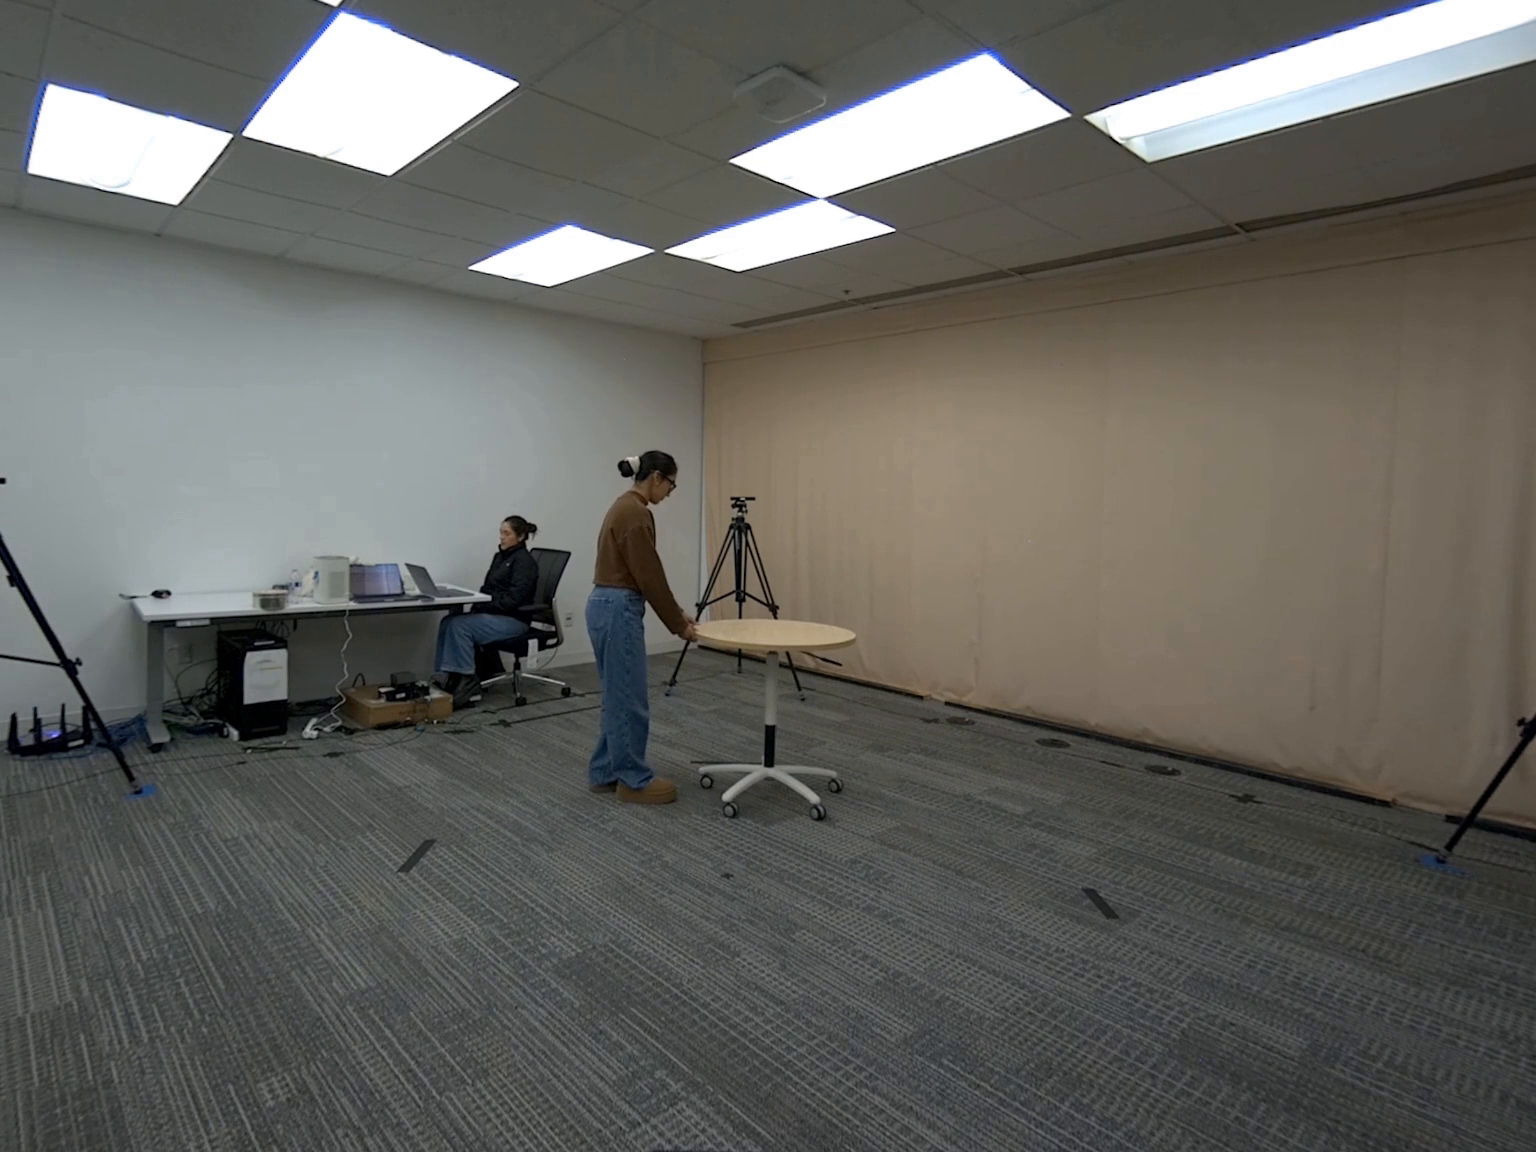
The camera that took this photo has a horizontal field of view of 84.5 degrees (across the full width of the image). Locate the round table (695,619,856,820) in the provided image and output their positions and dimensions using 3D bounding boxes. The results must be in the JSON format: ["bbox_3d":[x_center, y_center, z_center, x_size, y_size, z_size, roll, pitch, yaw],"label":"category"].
[{"bbox_3d":[0.002,0.651,3.948,0.763,0.792,0.766,2,4,-1],"label":"round table"}]
